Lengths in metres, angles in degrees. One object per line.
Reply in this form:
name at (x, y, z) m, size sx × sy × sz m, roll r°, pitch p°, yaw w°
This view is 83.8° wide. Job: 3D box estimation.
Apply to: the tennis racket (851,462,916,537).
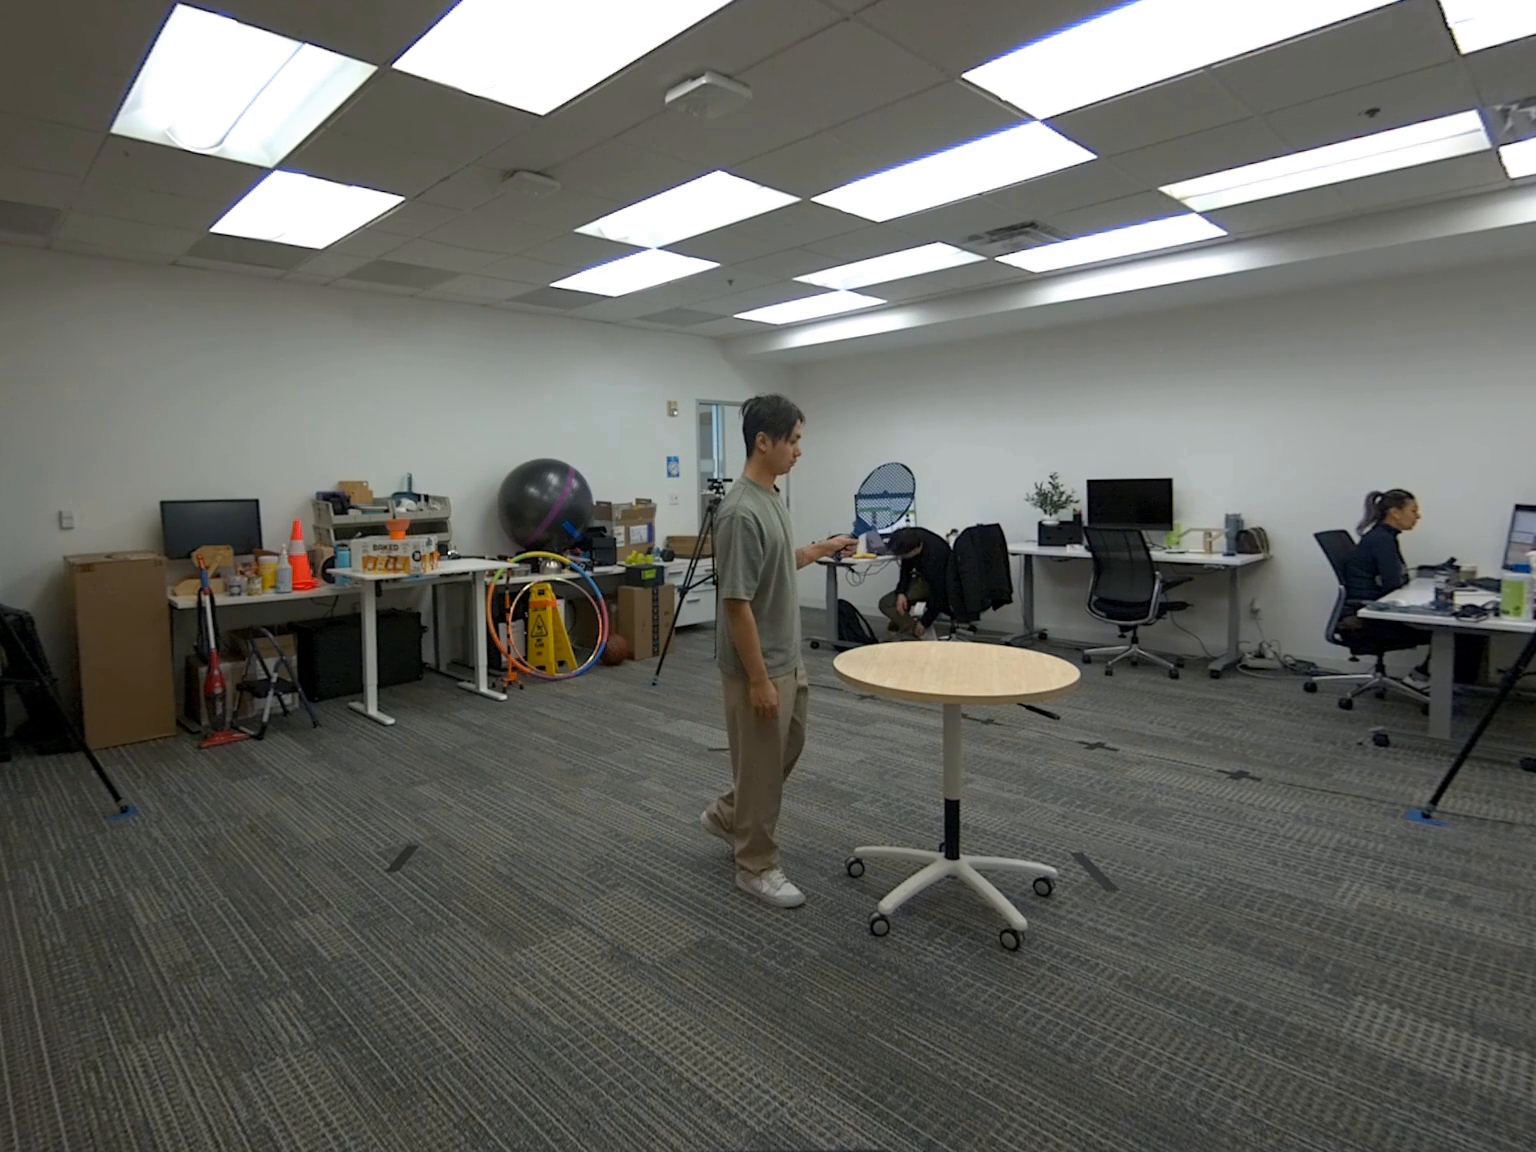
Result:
tennis racket at (0.386, -0.228, 3.120) m, size 0.208 × 0.433 × 0.032 m, roll 37°, pitch -1°, yaw -21°
